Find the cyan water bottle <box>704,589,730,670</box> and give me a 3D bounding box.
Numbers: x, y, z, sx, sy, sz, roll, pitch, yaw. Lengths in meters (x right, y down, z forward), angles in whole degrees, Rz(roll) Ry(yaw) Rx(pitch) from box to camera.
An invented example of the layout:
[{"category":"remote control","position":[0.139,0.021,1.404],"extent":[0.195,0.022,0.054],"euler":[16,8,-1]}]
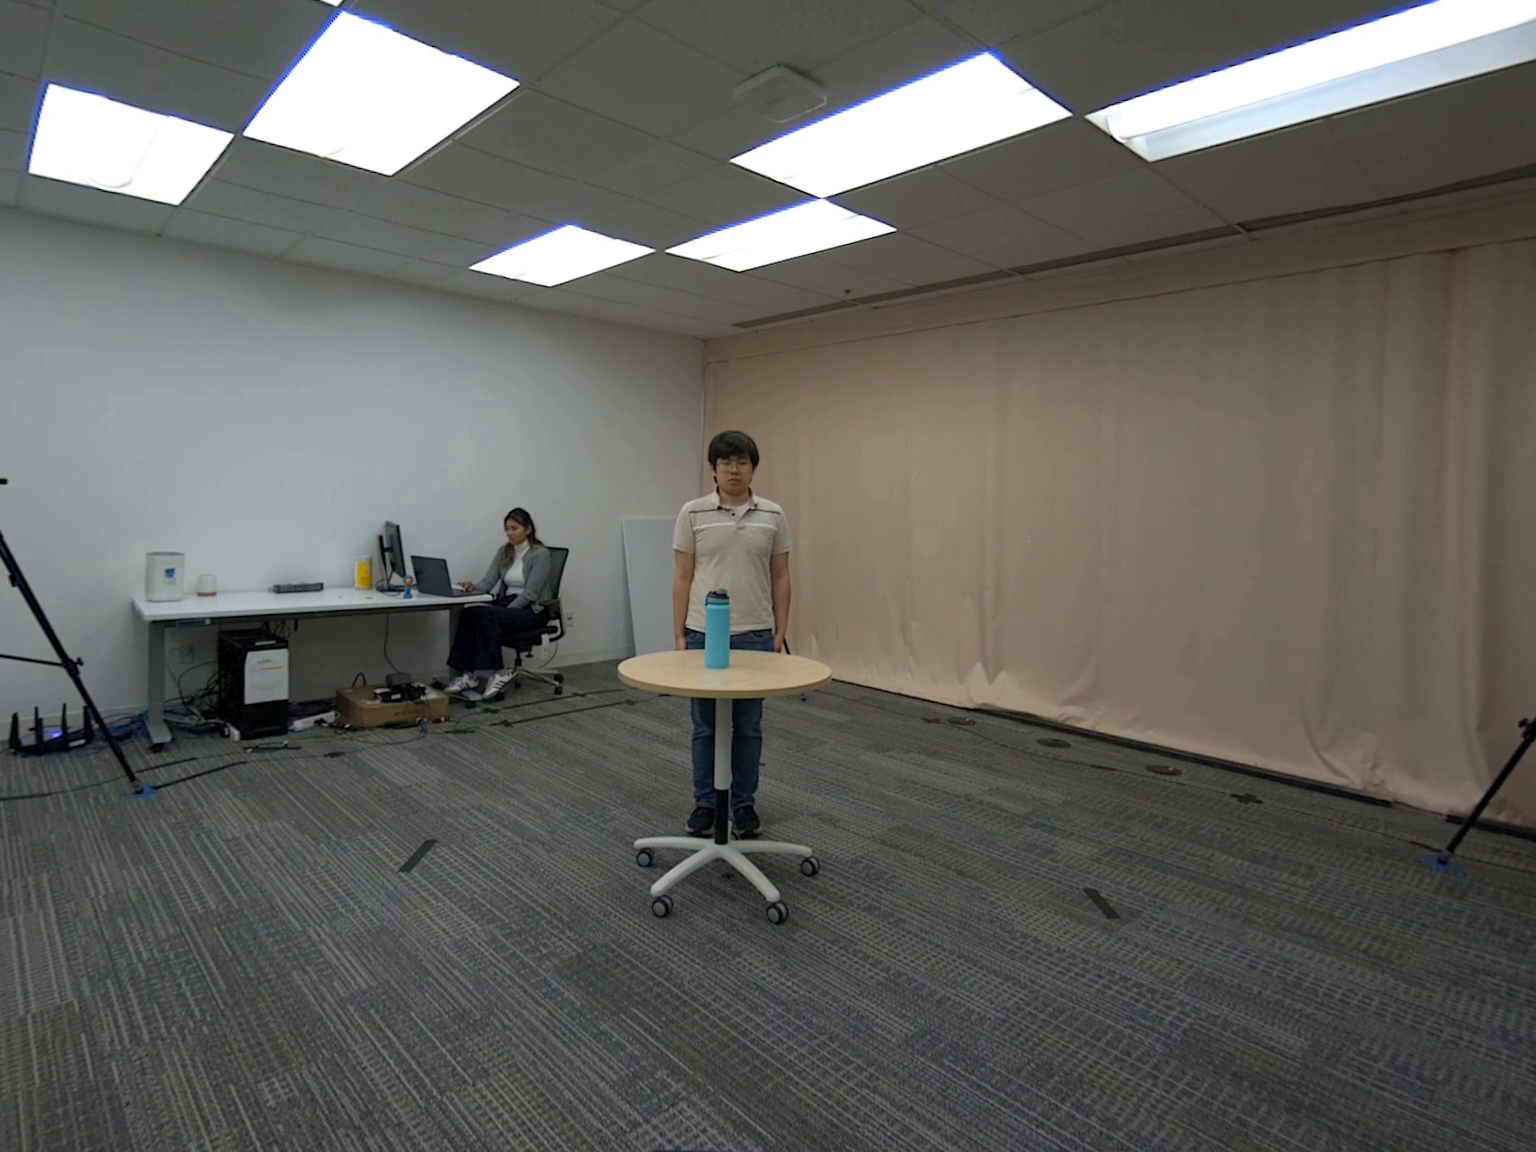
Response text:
[{"category":"cyan water bottle","position":[-0.196,0.190,3.036],"extent":[0.092,0.283,0.092],"euler":[0,1,-1]}]
